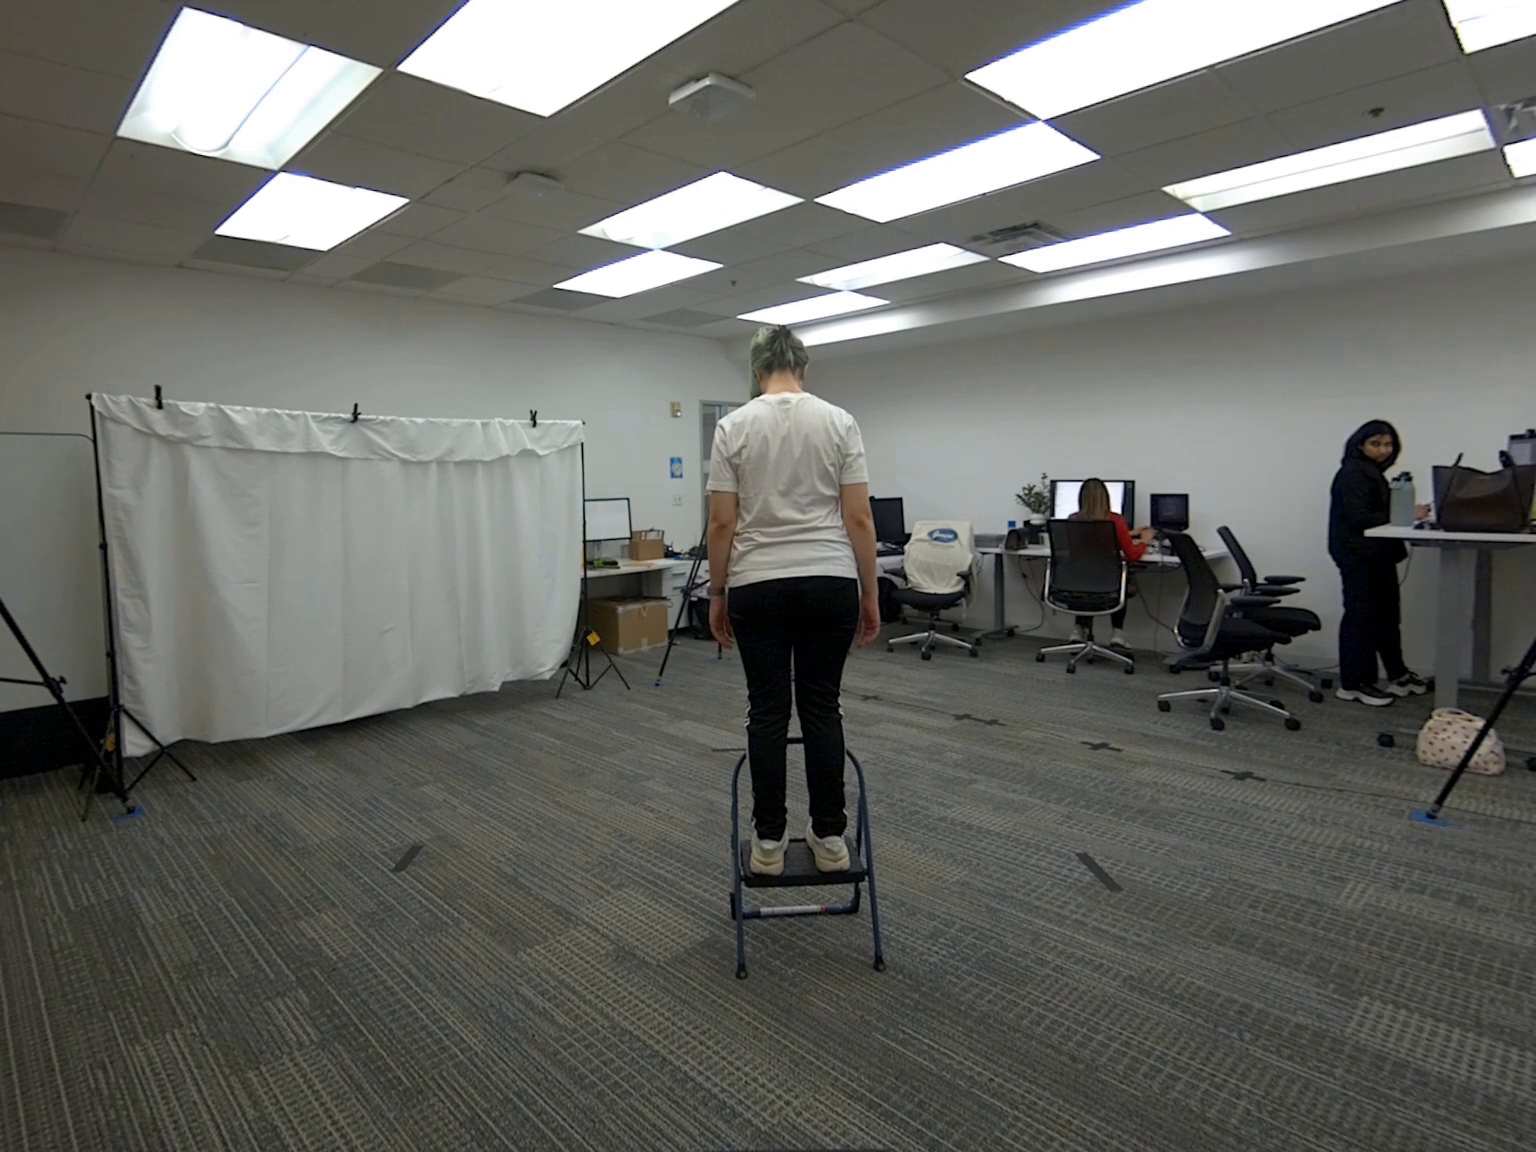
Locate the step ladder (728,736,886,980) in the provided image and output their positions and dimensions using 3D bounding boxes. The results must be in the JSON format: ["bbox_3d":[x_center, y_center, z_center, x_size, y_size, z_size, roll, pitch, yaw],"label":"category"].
[{"bbox_3d":[0.104,0.808,2.565,0.429,0.603,0.352,-1,5,-5],"label":"step ladder"}]
